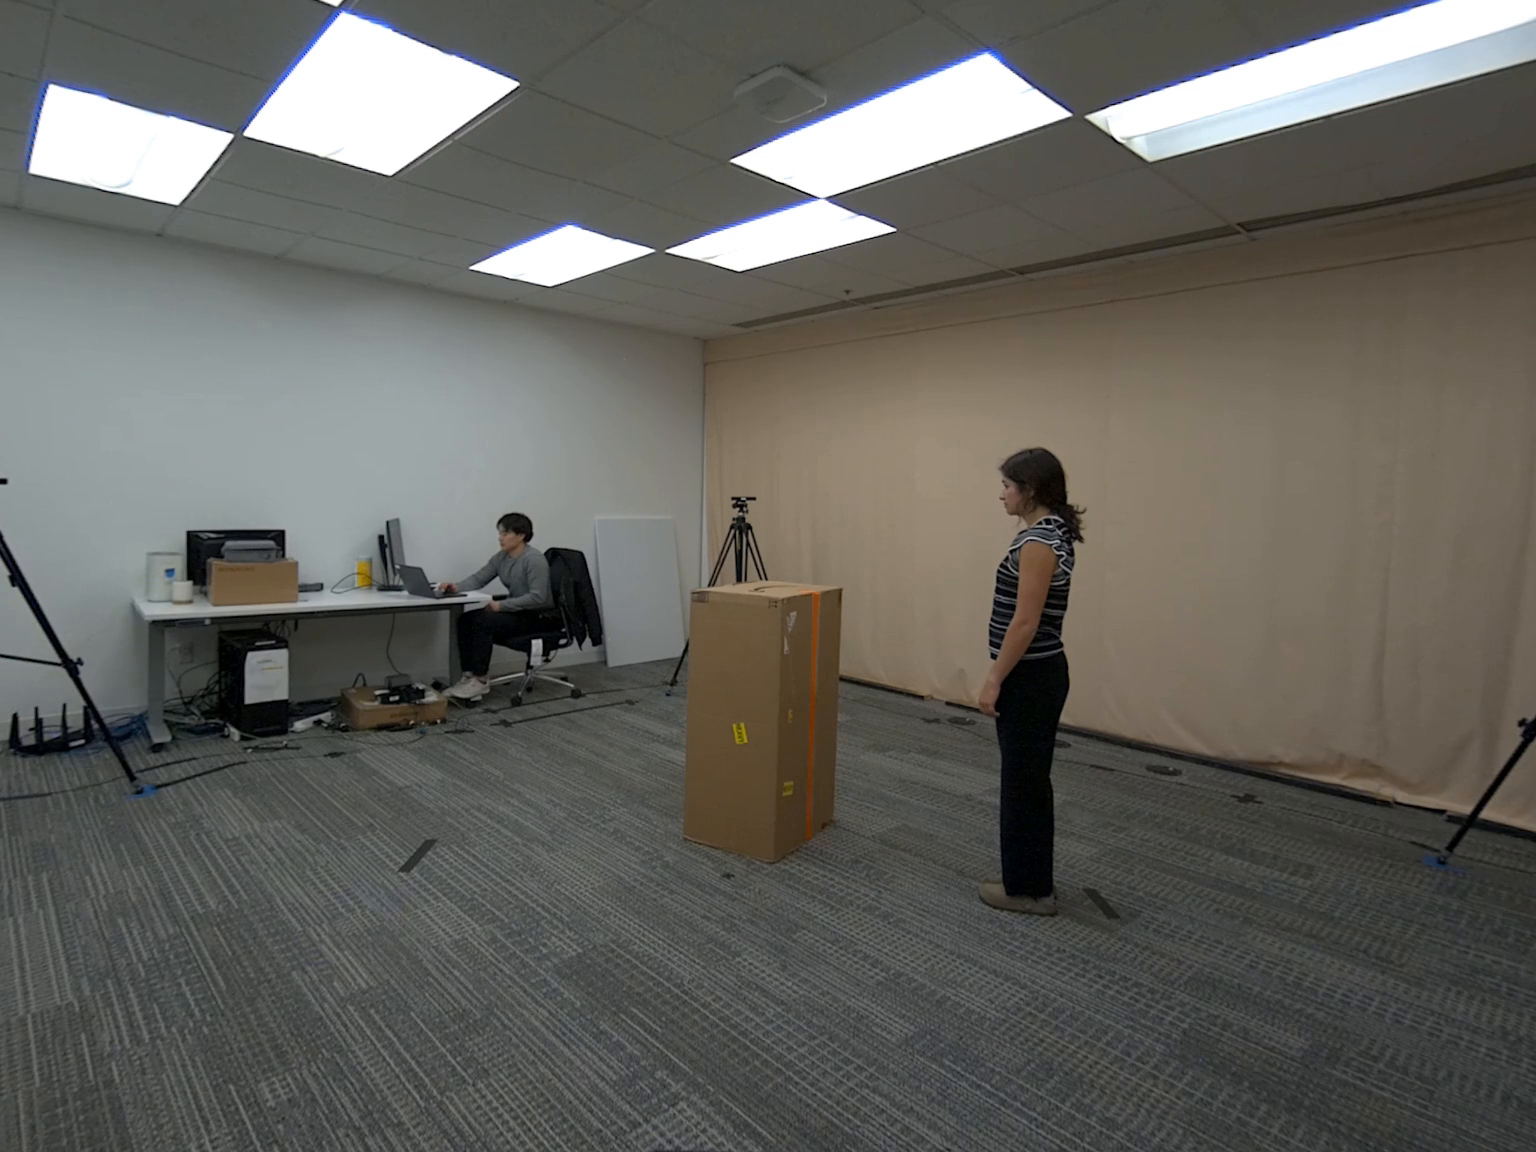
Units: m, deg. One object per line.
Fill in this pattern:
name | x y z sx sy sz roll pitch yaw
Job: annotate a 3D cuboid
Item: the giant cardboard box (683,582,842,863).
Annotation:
giant cardboard box | -0.013 0.563 3.549 0.436 1.024 0.566 4 3 30
